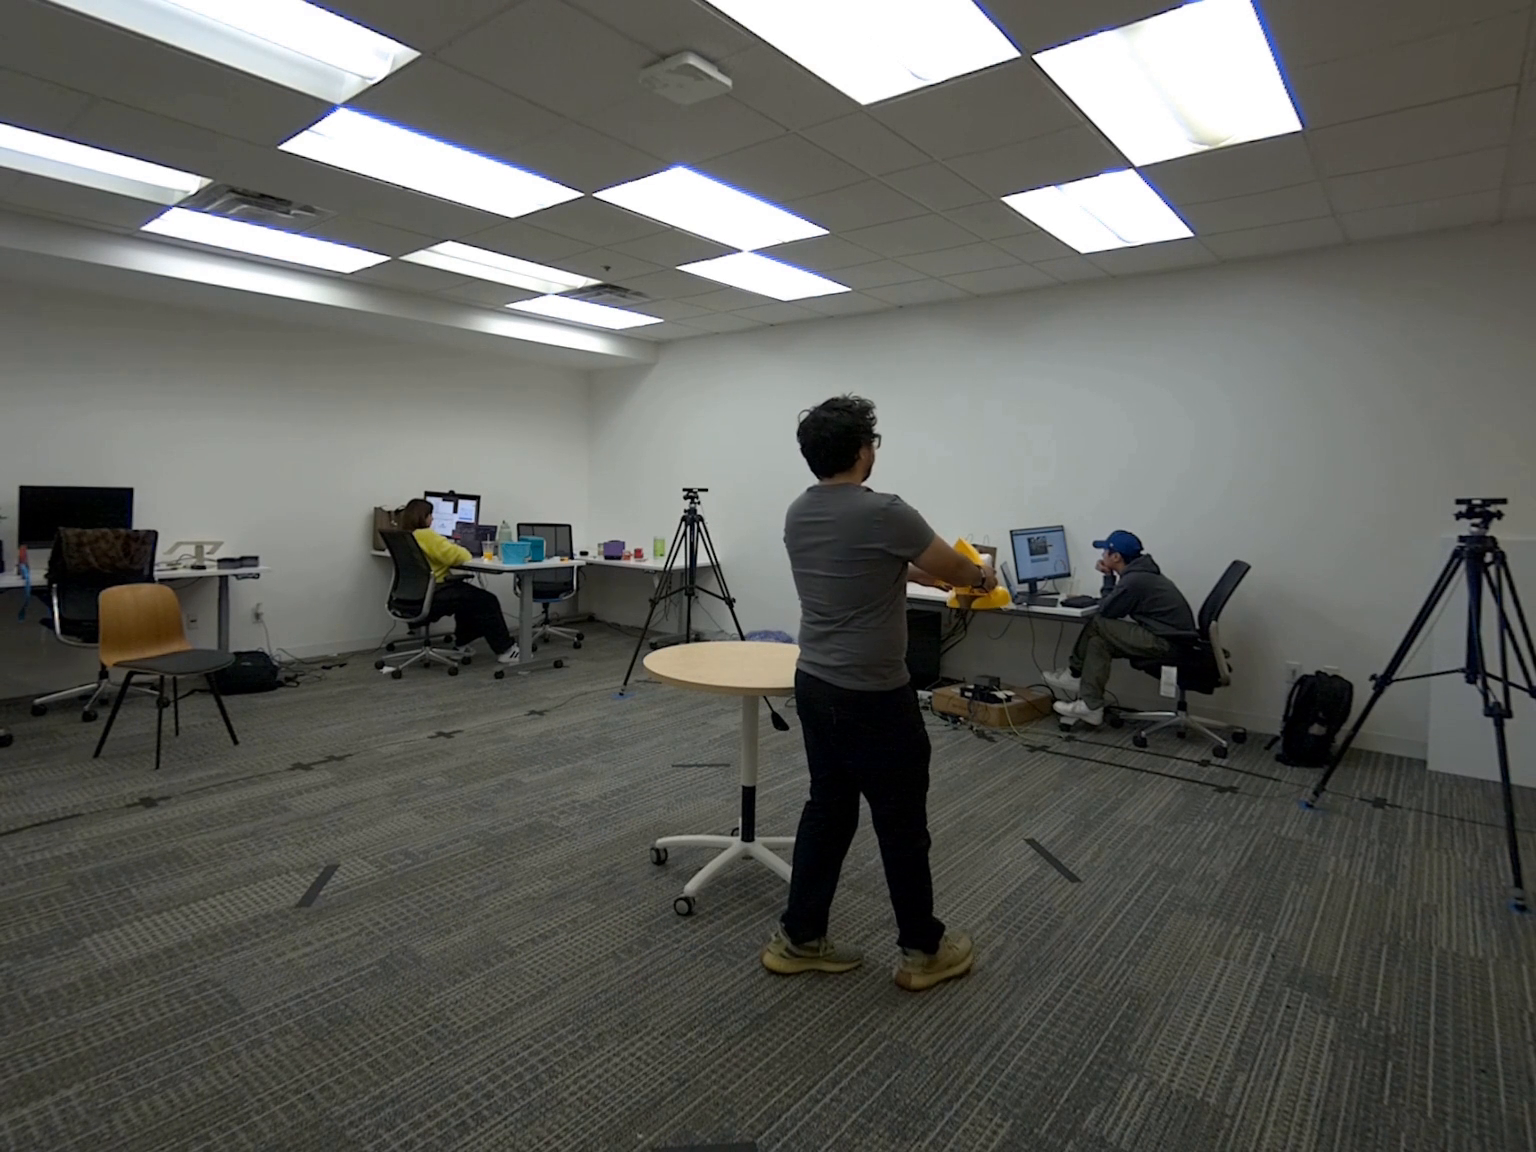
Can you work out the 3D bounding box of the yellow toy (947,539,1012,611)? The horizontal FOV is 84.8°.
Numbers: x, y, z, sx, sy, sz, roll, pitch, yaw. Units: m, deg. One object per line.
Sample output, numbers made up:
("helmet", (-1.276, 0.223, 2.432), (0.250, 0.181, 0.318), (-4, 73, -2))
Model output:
("yellow toy", (0.671, -0.026, 2.802), (0.188, 0.229, 0.211), (-11, 7, -40))
